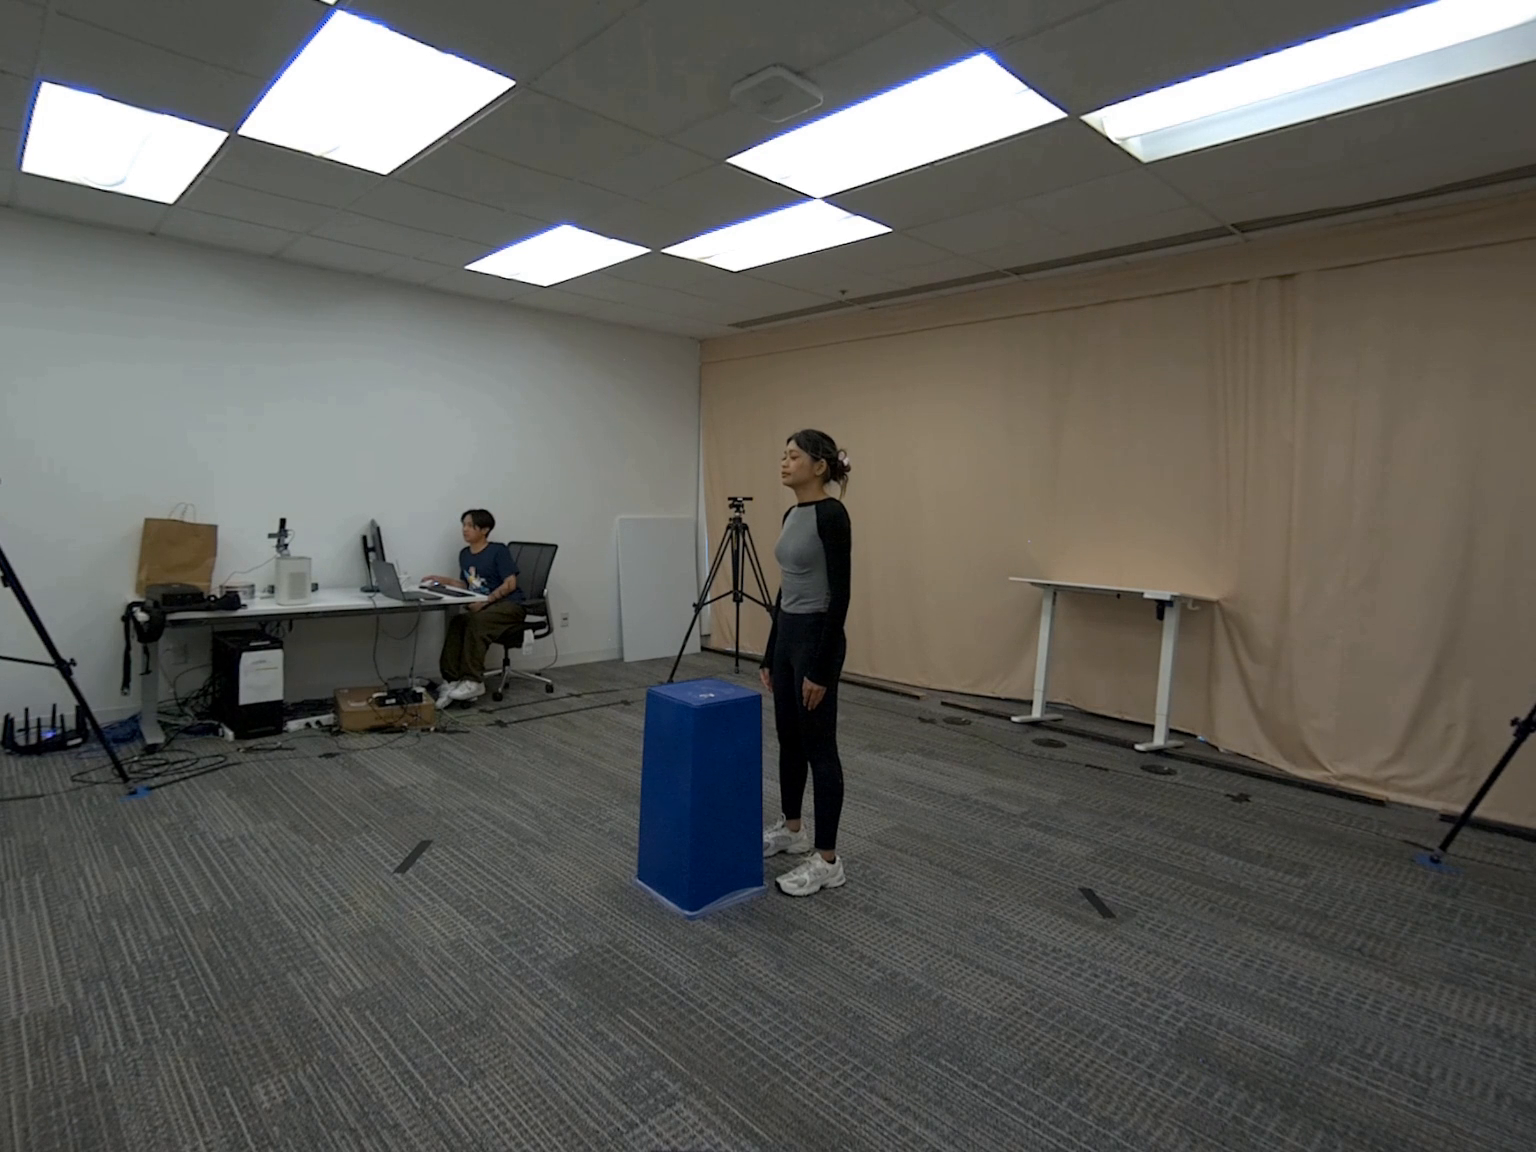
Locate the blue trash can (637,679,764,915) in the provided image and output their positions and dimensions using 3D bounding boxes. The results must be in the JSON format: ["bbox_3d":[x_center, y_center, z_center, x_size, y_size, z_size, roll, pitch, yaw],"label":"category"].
[{"bbox_3d":[-0.240,0.764,2.989,0.369,0.711,0.384,-2,6,-40],"label":"blue trash can"}]
